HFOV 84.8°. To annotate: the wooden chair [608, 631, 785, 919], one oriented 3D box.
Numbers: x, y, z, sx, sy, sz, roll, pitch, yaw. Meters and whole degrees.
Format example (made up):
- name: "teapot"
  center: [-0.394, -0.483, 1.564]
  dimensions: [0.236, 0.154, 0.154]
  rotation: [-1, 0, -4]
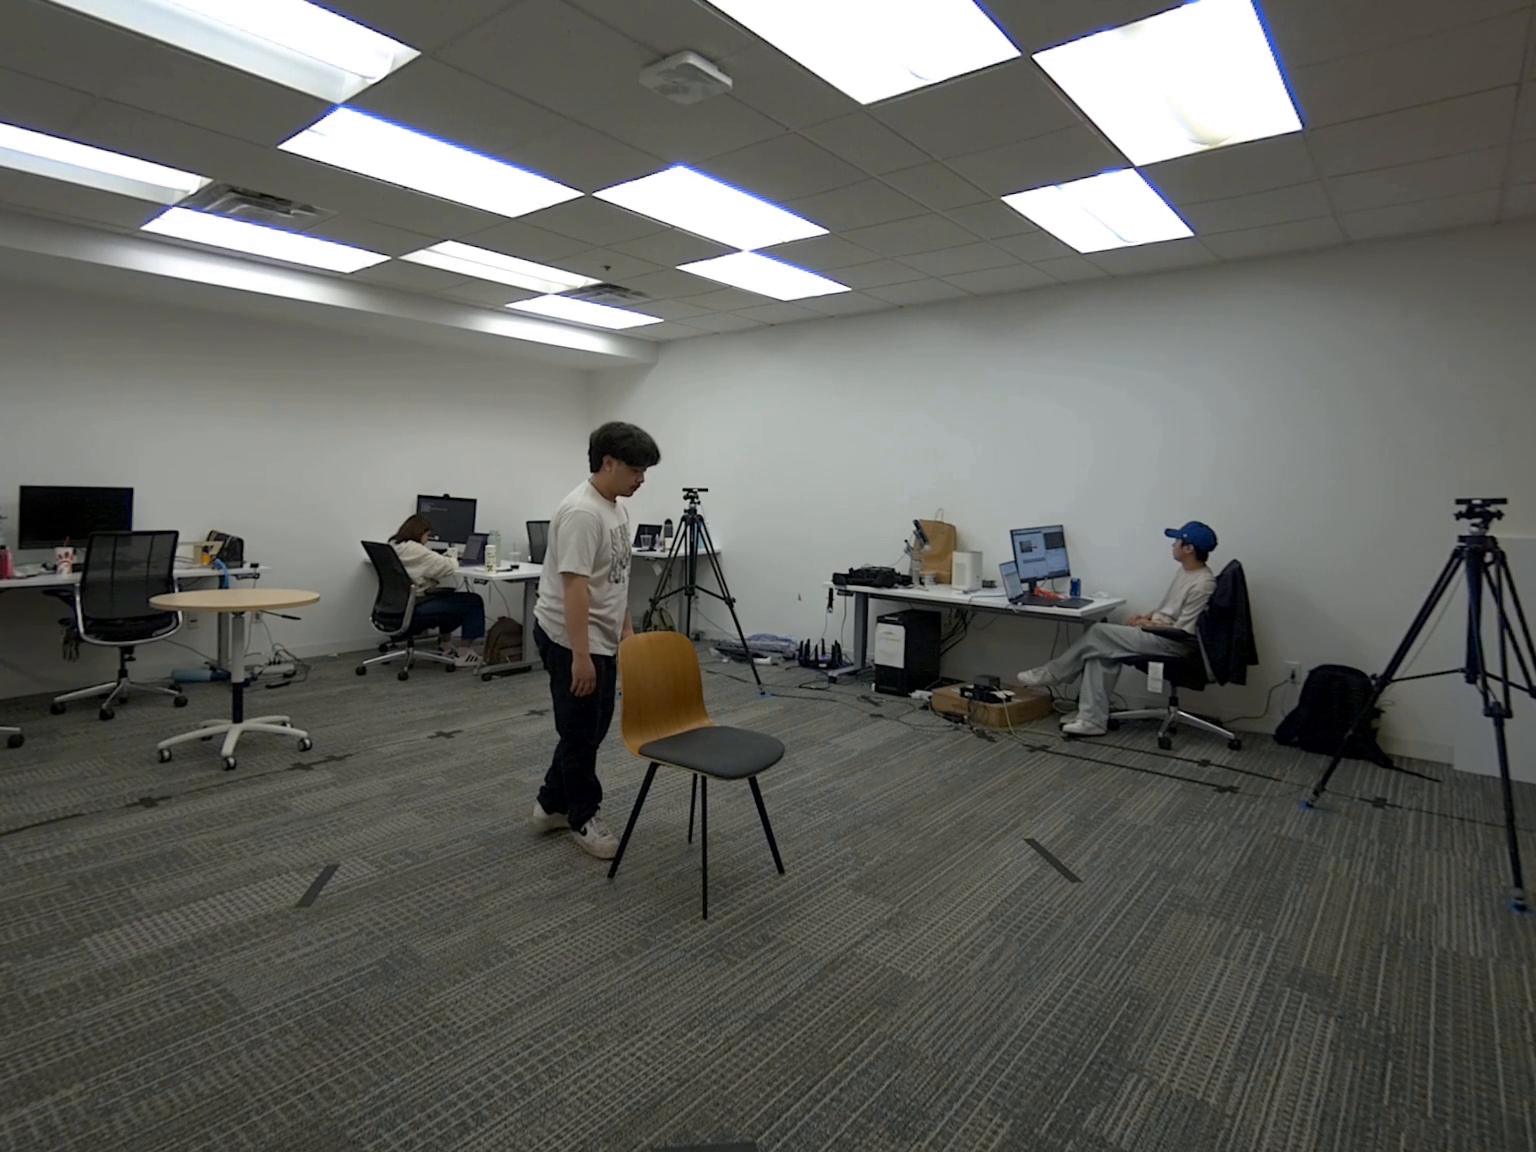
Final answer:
- name: "wooden chair"
  center: [-0.246, 0.648, 3.018]
  dimensions: [0.539, 0.877, 0.464]
  rotation: [-2, 0, 37]
